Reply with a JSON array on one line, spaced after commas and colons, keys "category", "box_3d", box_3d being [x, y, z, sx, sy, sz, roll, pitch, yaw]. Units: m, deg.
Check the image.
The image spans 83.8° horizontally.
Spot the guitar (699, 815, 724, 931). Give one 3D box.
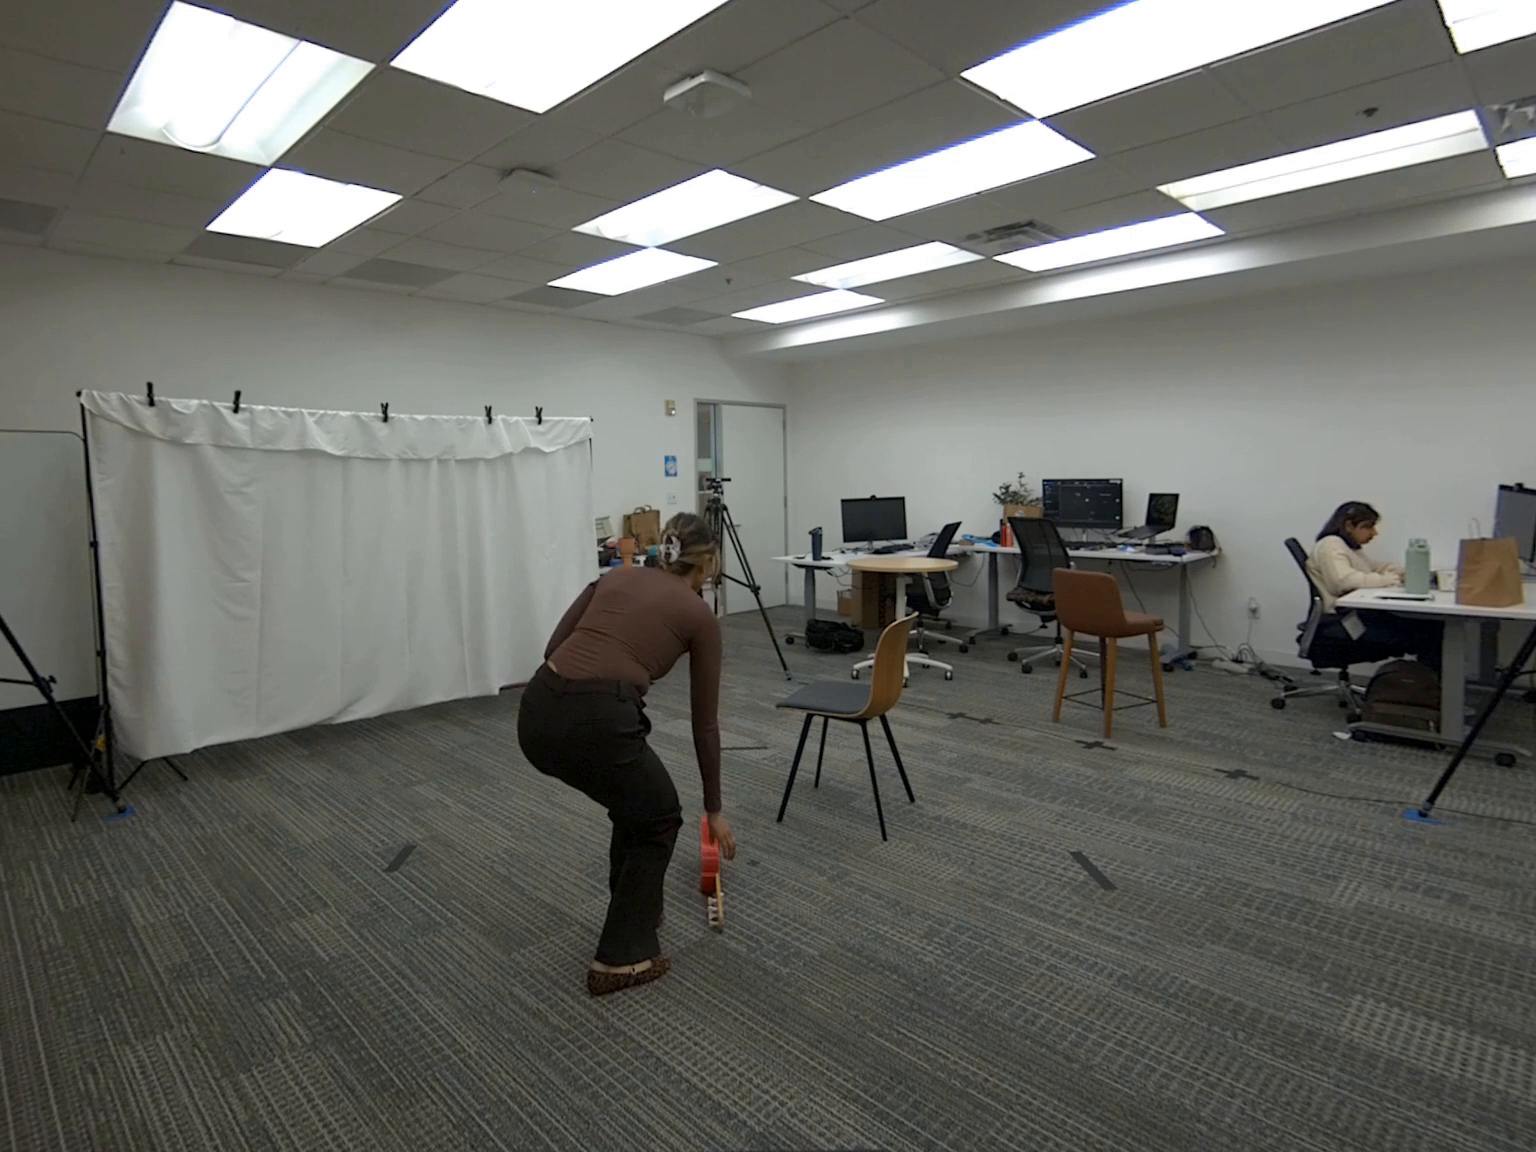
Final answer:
[{"category": "guitar", "box_3d": [-0.186, 0.983, 2.862, 0.070, 0.192, 0.503, 3, 6, -7]}]
